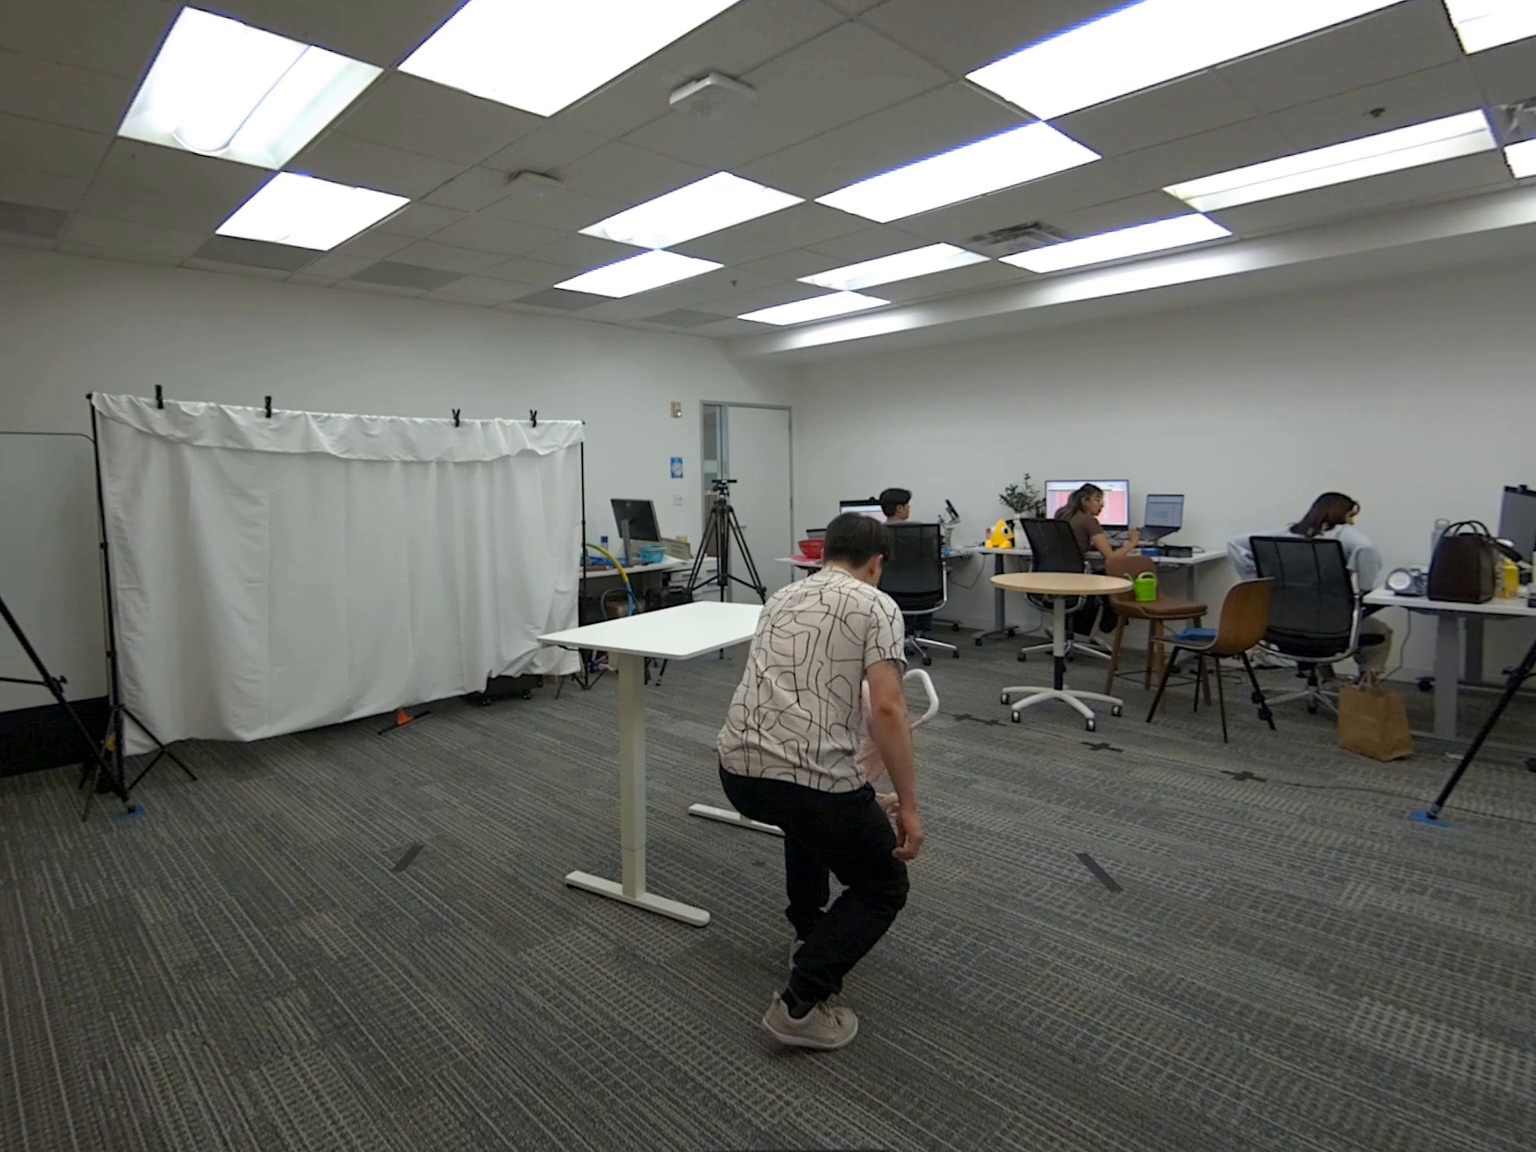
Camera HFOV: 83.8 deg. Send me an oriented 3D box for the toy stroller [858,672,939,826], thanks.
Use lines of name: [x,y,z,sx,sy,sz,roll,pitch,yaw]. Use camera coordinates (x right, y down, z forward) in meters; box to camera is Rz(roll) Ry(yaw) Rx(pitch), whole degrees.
toy stroller: [0.328,0.549,2.799,0.339,0.524,0.289,7,36,-7]
